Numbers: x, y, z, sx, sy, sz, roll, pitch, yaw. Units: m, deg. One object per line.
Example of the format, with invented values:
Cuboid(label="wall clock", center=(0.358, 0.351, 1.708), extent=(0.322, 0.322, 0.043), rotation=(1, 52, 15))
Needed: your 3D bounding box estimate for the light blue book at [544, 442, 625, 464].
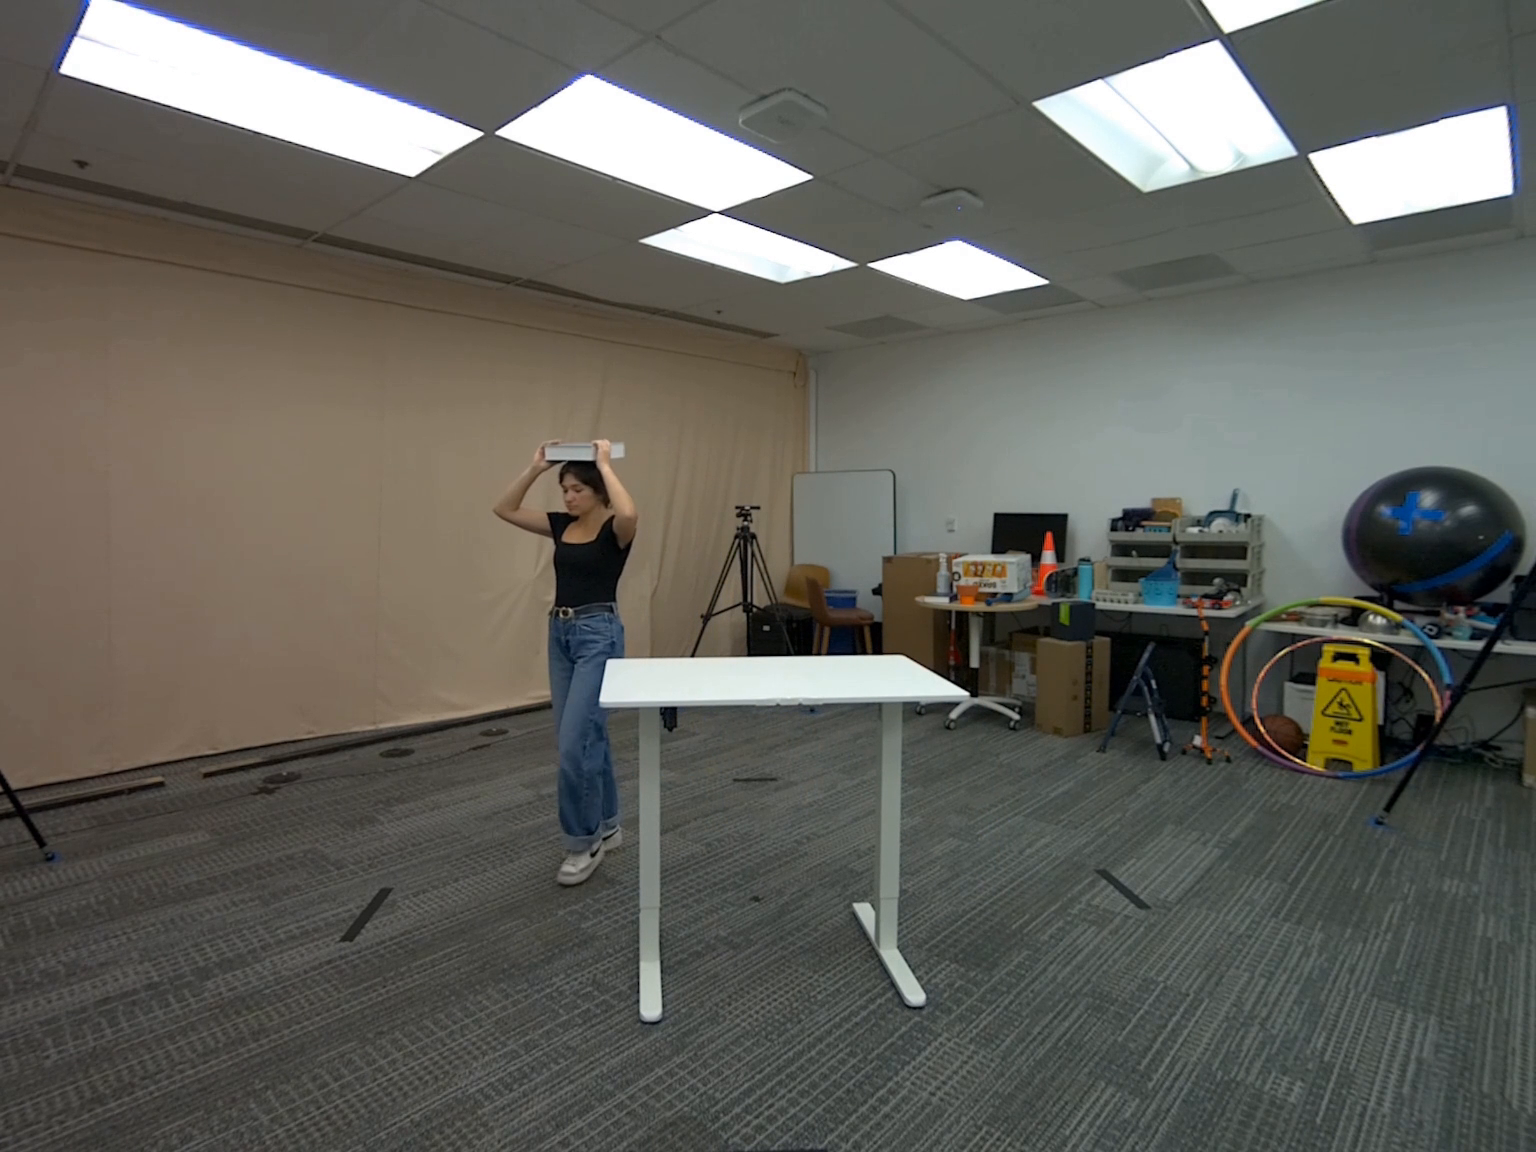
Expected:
Cuboid(label="light blue book", center=(-0.703, -0.488, 3.278), extent=(0.269, 0.058, 0.186), rotation=(6, 12, 35))
